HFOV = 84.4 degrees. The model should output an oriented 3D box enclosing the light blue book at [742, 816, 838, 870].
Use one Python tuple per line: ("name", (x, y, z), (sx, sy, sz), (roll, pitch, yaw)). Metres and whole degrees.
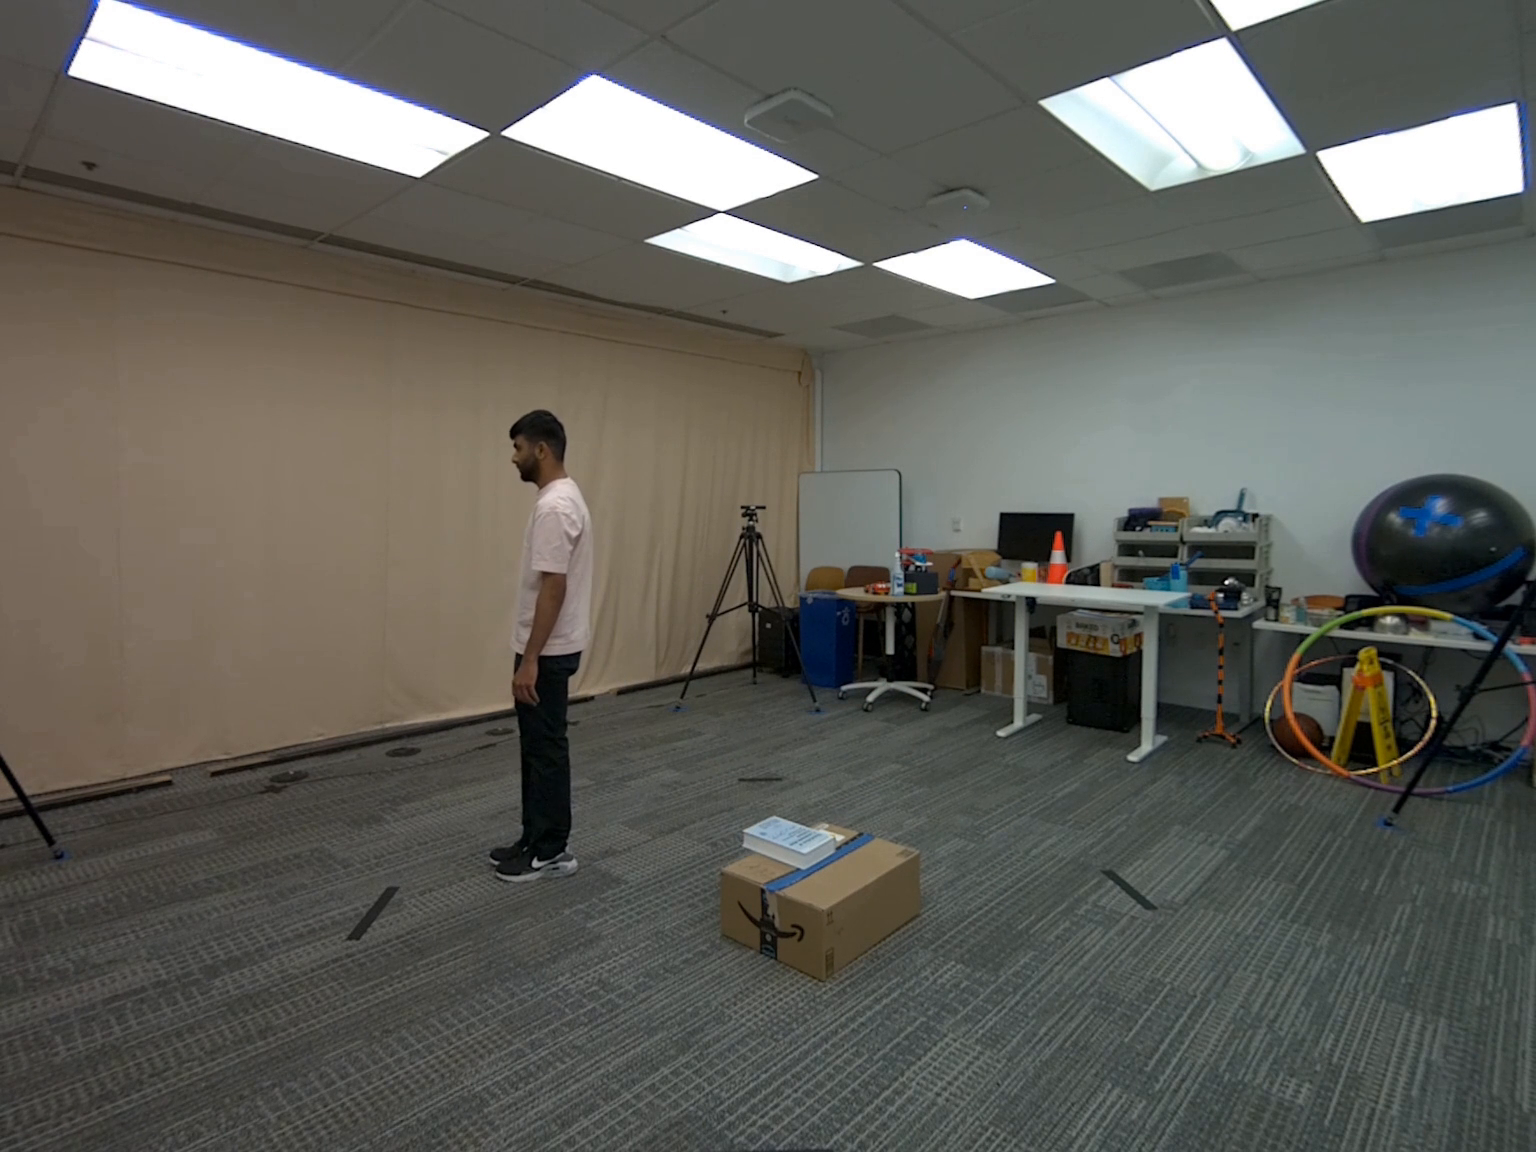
("light blue book", (0.075, 0.909, 2.888), (0.270, 0.059, 0.186), (6, 8, 38))
